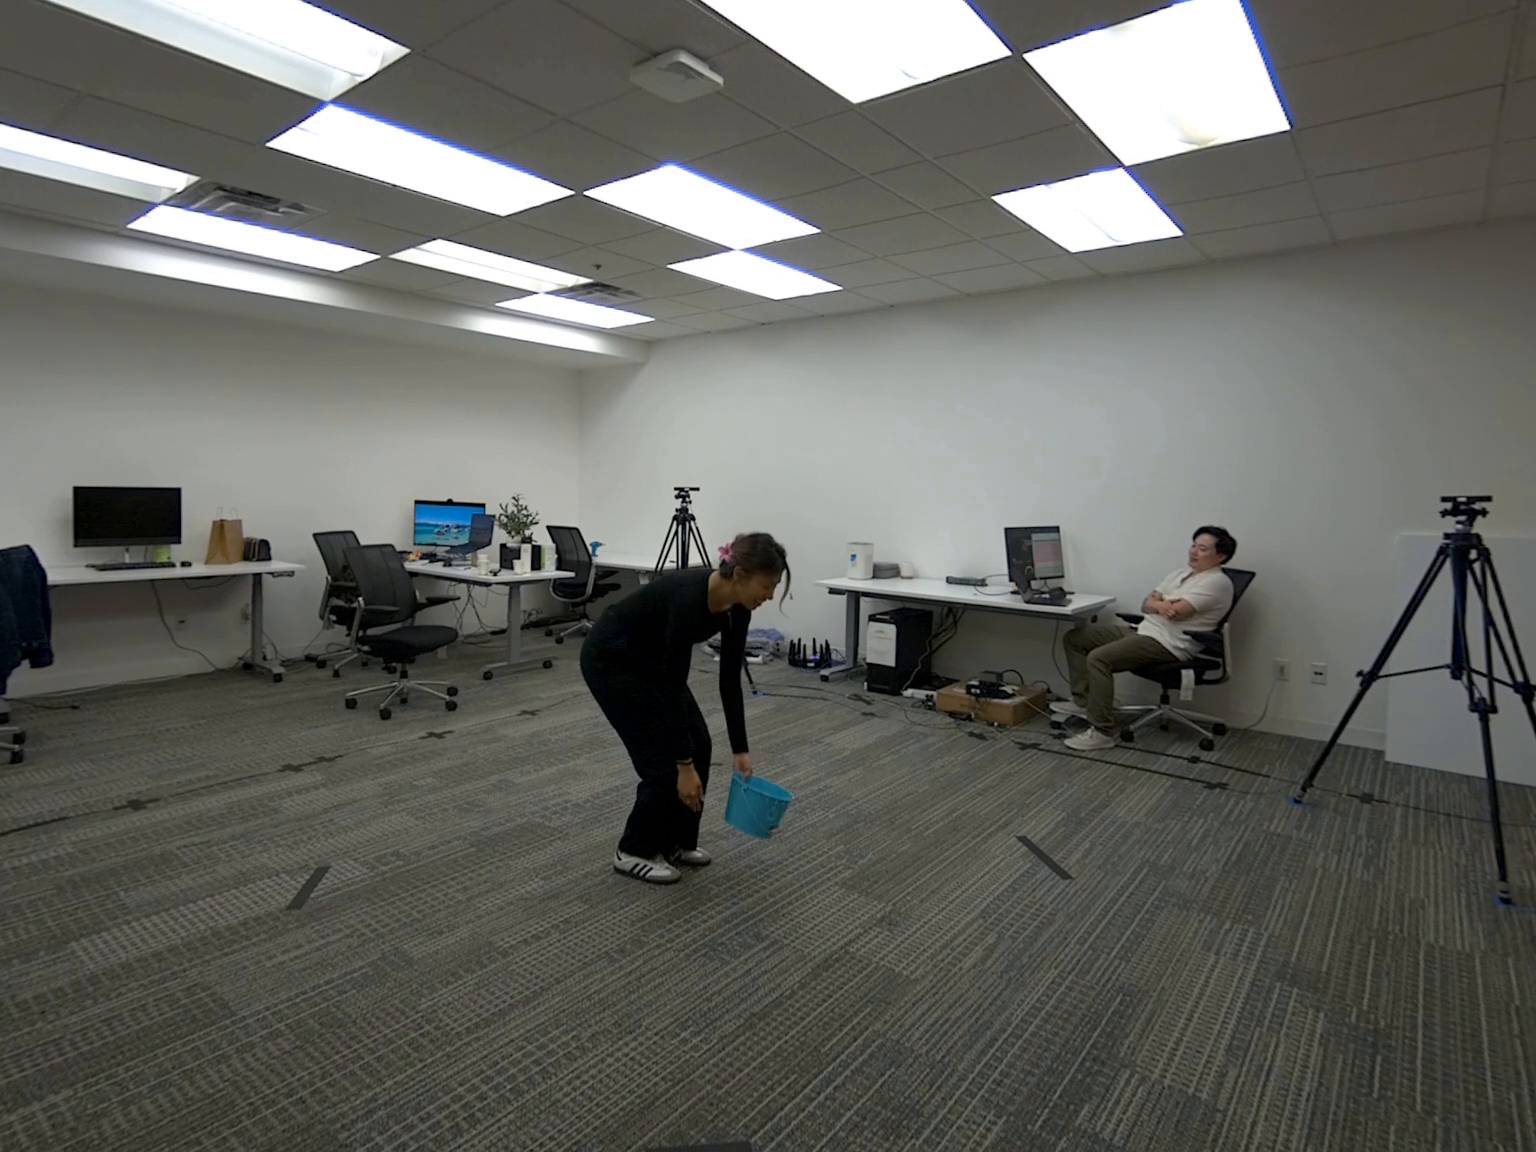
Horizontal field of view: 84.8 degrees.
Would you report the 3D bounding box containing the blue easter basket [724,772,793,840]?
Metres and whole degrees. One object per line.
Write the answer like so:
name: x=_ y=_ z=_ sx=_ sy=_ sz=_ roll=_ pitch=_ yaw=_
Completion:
blue easter basket: x=-0.057 y=0.787 z=2.945 sx=0.243 sy=0.156 sz=0.244 roll=18 pitch=0 yaw=-2
